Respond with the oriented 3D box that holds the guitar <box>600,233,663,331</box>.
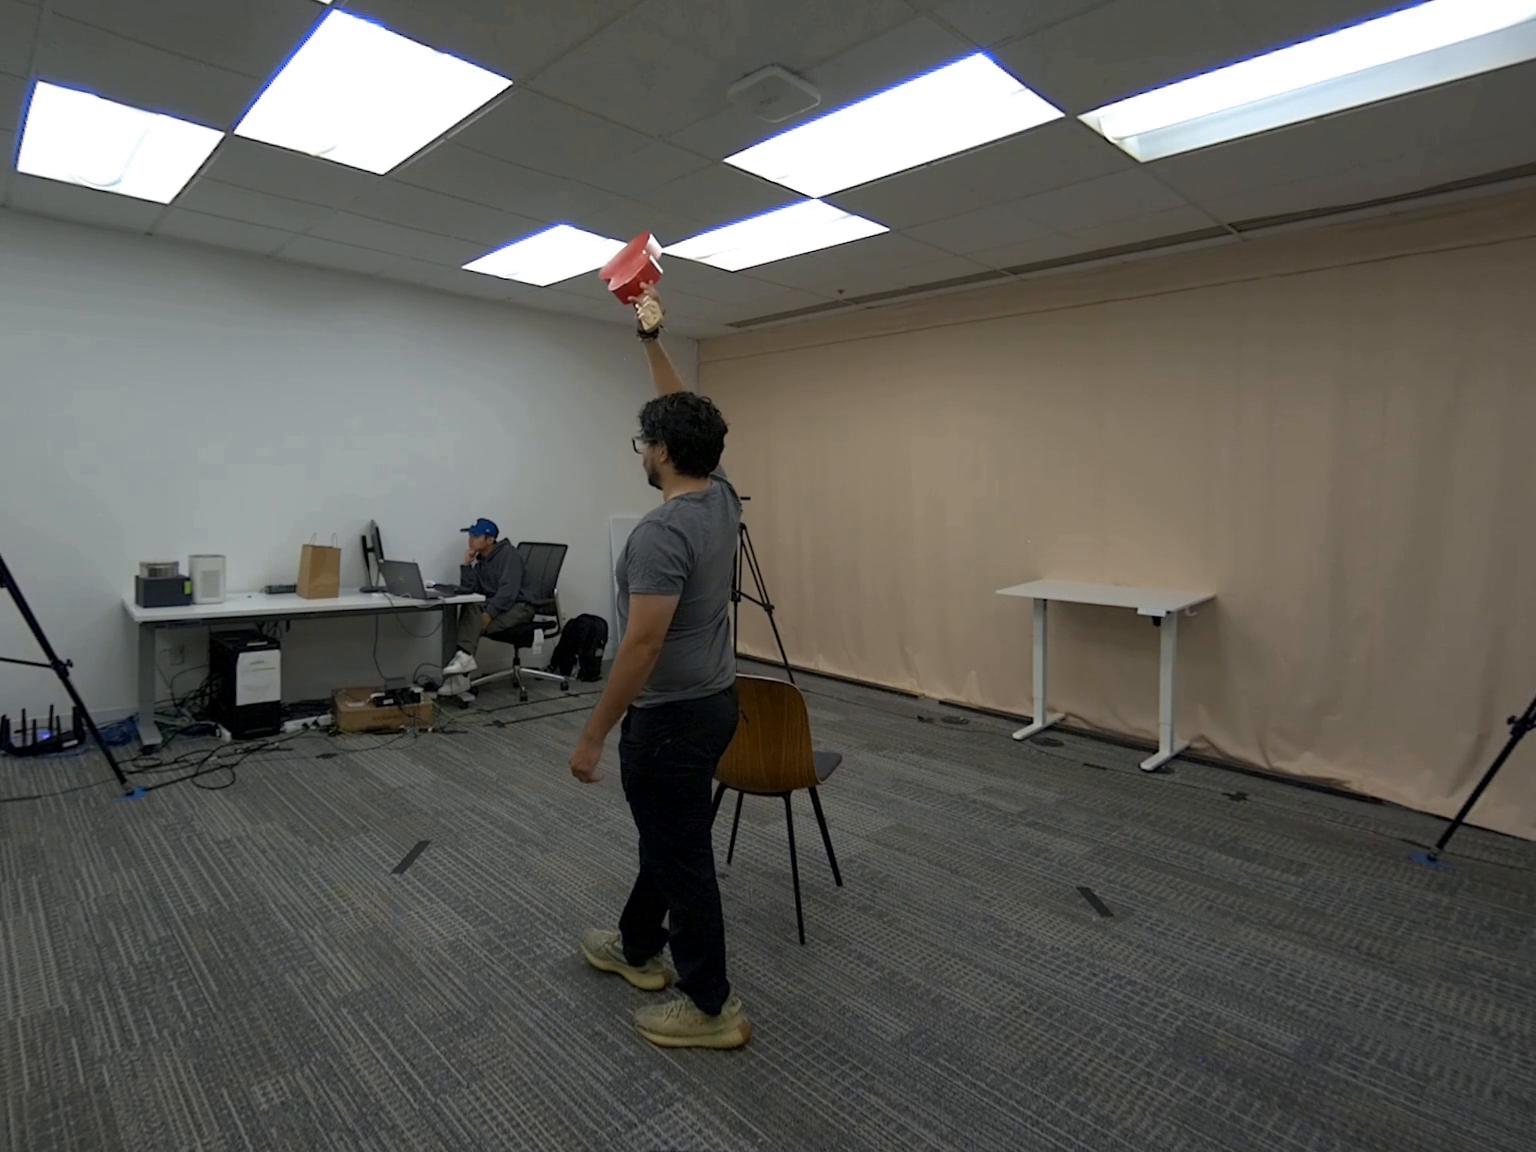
[{"bbox_3d":[-0.337,-0.811,2.290,0.068,0.193,0.513,45,9,-37],"label":"guitar"}]
